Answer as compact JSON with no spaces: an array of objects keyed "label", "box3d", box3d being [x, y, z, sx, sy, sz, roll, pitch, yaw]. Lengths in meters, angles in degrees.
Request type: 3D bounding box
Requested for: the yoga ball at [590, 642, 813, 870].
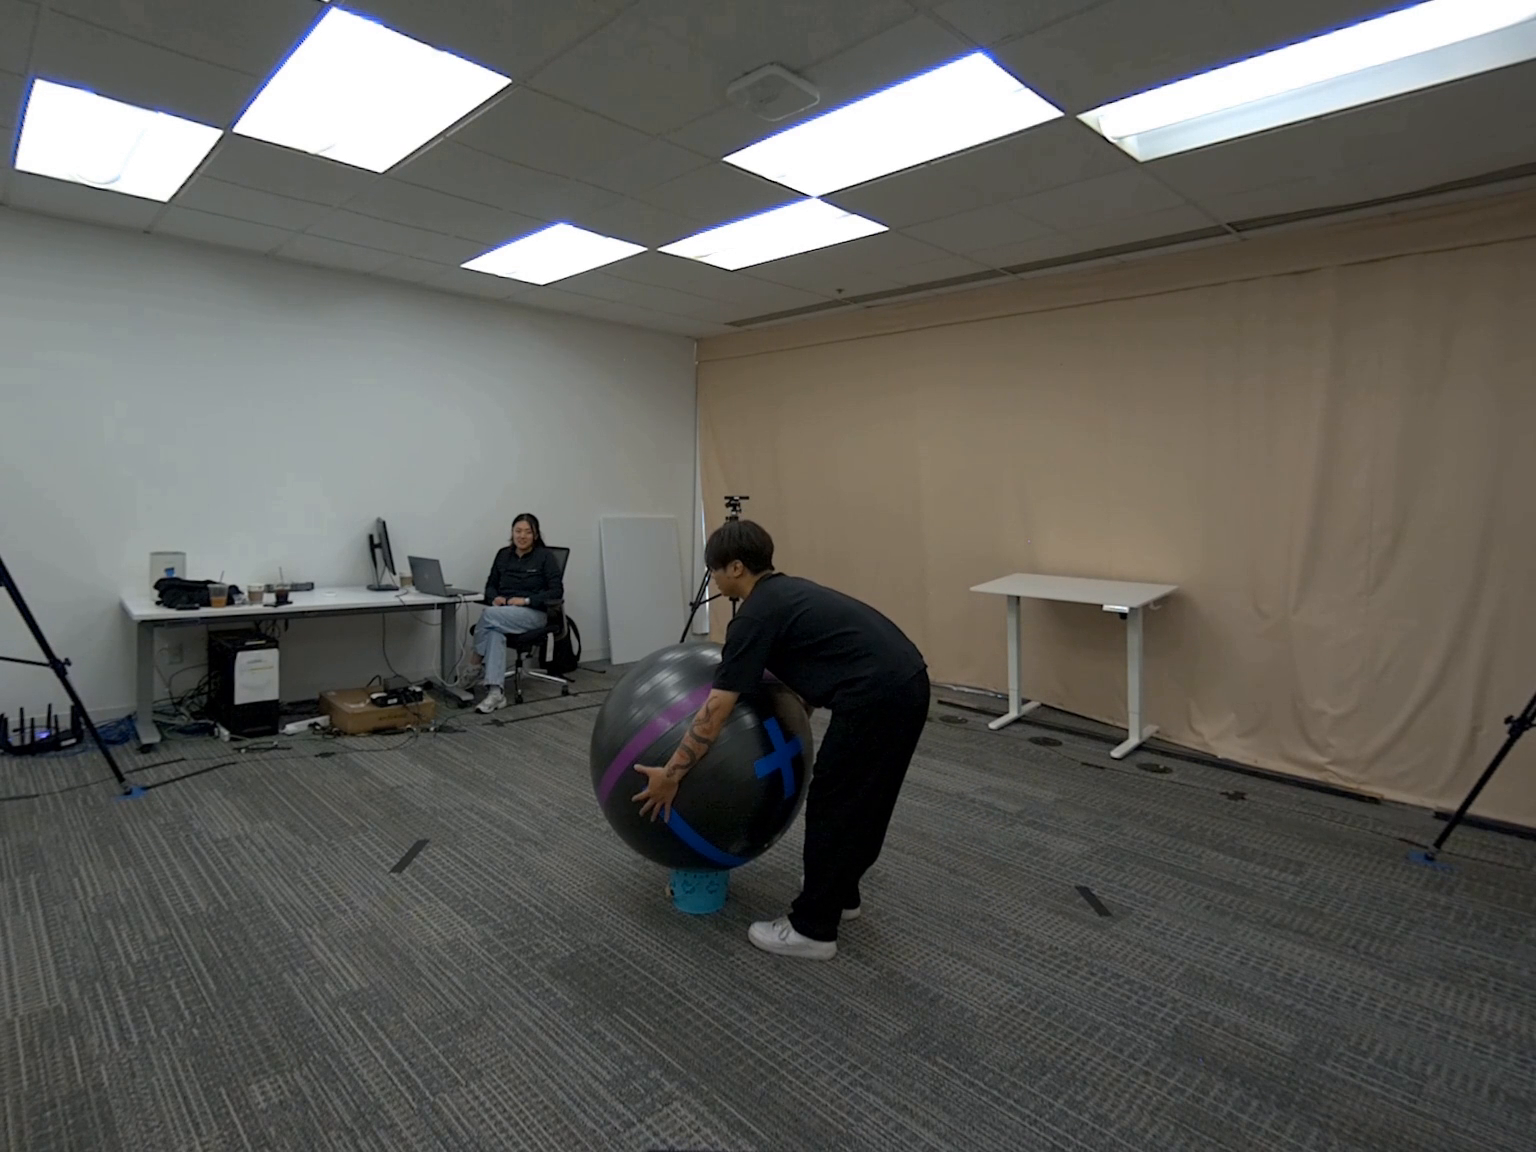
[{"label":"yoga ball","box3d":[-0.230,0.604,2.875,0.757,0.756,0.761,1,4,-1]}]
